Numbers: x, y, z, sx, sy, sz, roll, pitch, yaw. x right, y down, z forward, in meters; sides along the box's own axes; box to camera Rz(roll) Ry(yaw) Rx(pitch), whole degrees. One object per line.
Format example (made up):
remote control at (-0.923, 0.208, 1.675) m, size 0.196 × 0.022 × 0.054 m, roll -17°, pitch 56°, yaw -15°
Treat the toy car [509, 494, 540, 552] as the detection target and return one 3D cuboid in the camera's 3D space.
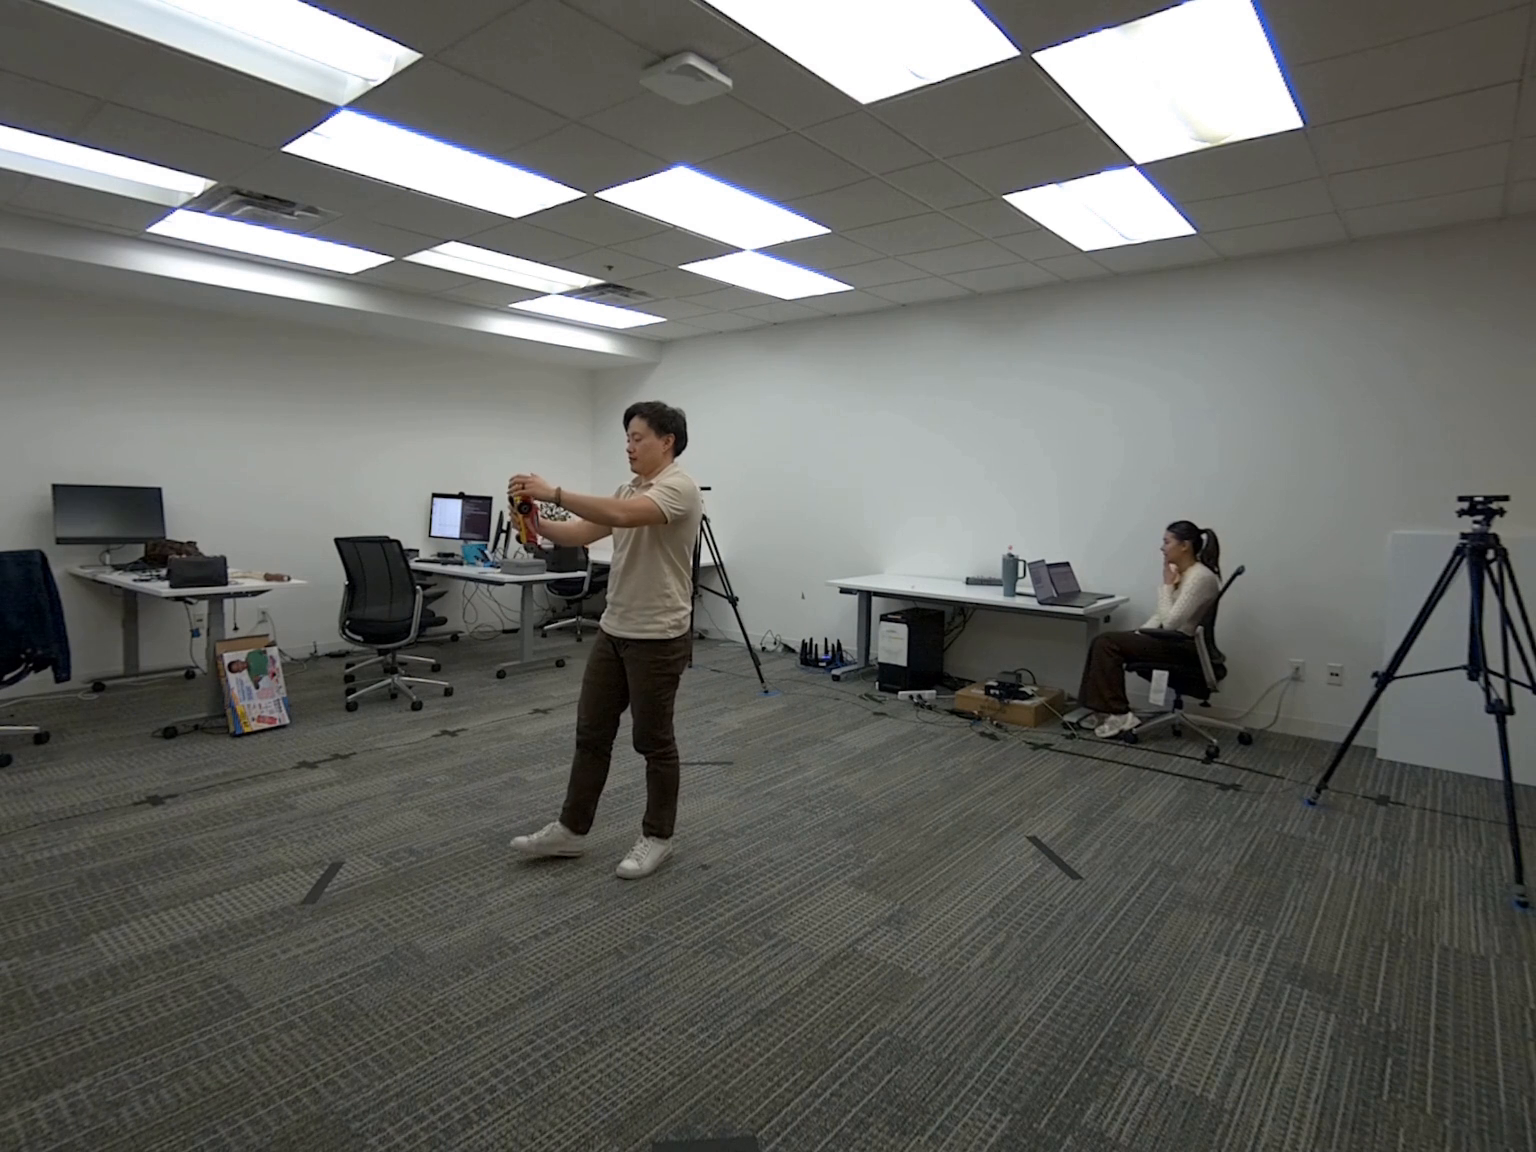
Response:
toy car at (-0.841, -0.205, 2.870) m, size 0.081 × 0.250 × 0.136 m, roll -7°, pitch 23°, yaw -33°
